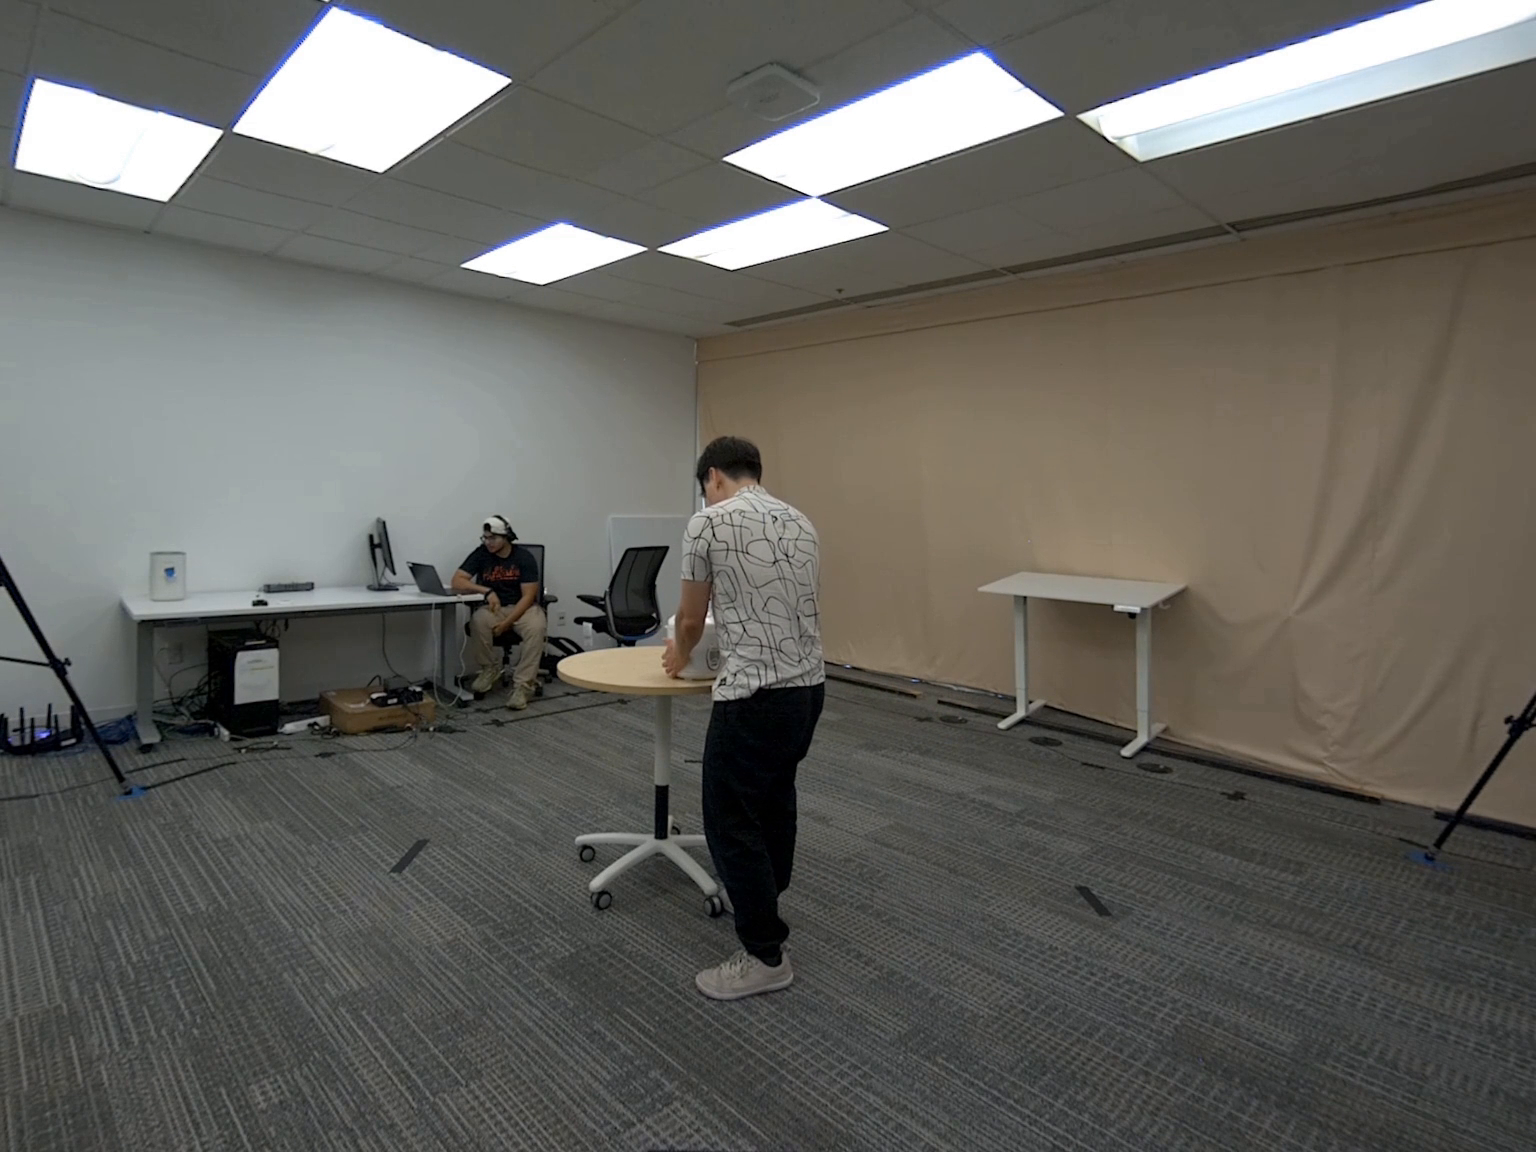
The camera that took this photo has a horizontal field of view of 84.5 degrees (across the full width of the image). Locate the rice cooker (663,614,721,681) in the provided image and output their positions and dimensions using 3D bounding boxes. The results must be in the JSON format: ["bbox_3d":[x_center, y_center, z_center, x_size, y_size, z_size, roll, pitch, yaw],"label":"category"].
[{"bbox_3d":[-0.247,0.226,2.863,0.216,0.232,0.223,-2,4,-37],"label":"rice cooker"}]
